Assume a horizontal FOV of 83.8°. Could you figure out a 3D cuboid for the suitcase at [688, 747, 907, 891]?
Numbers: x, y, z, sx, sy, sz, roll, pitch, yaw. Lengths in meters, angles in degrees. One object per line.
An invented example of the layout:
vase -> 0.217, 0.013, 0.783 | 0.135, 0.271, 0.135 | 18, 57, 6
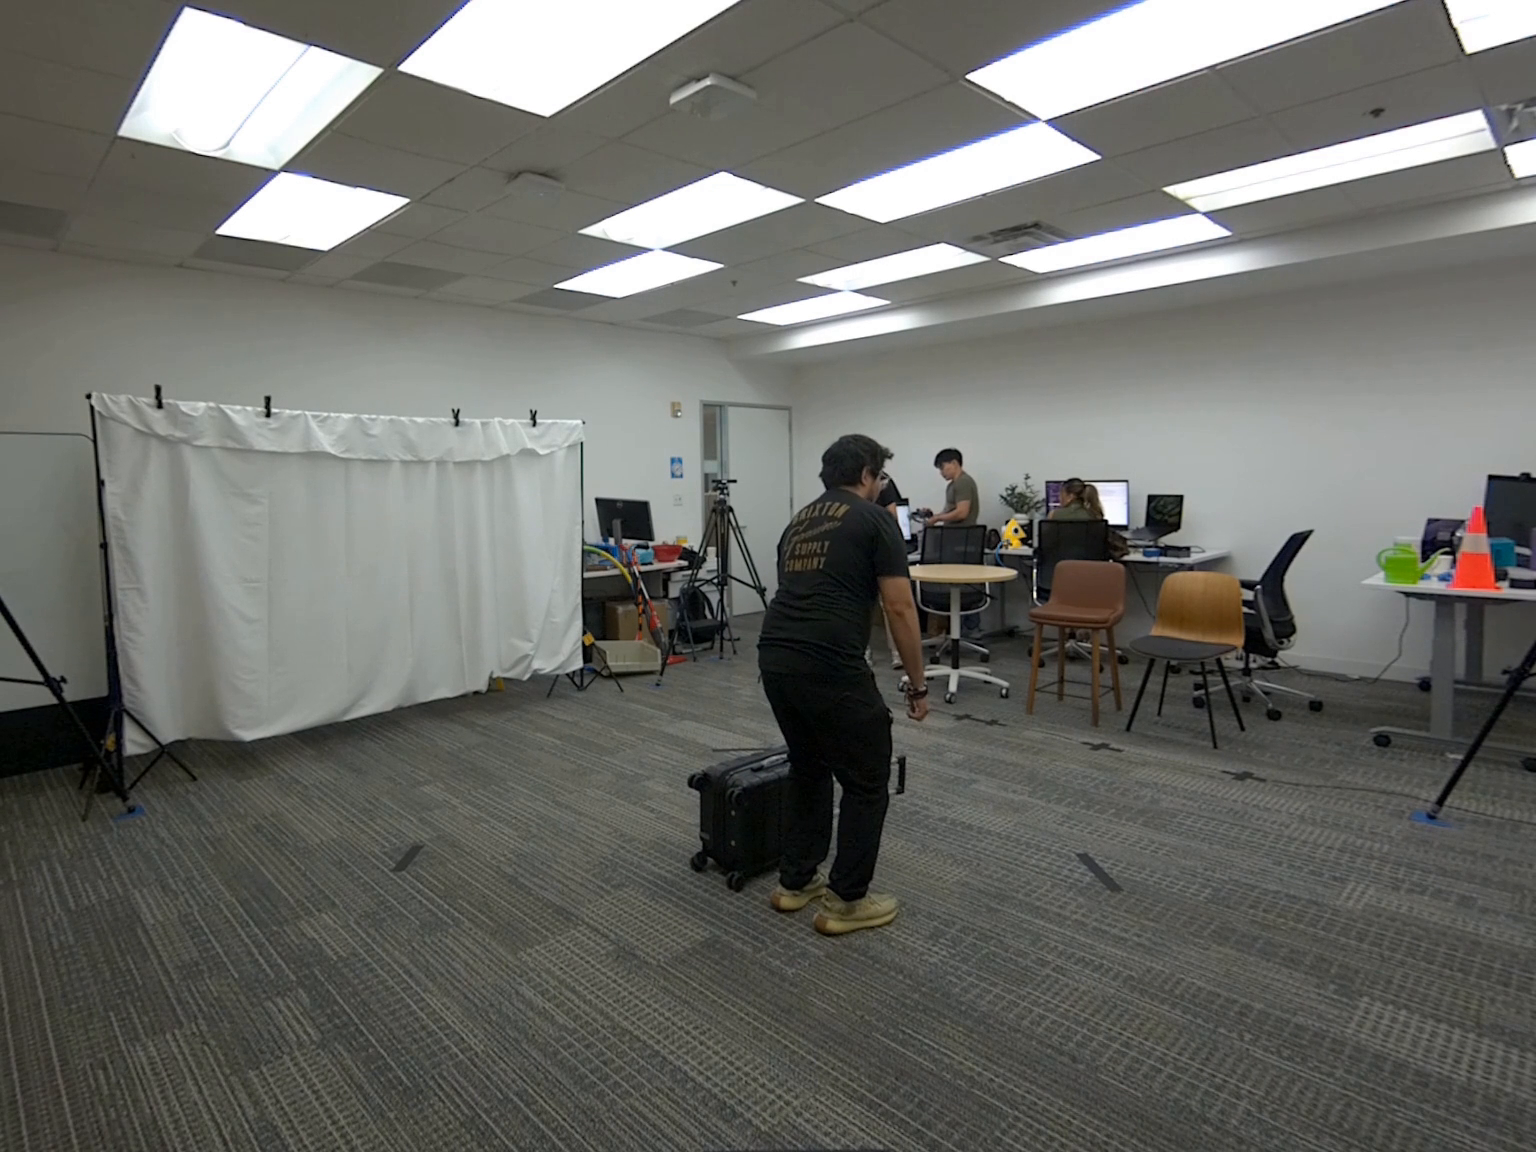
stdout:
suitcase -> 0.136, 0.836, 3.298 | 0.953, 0.383, 0.265 | -6, 6, -44
